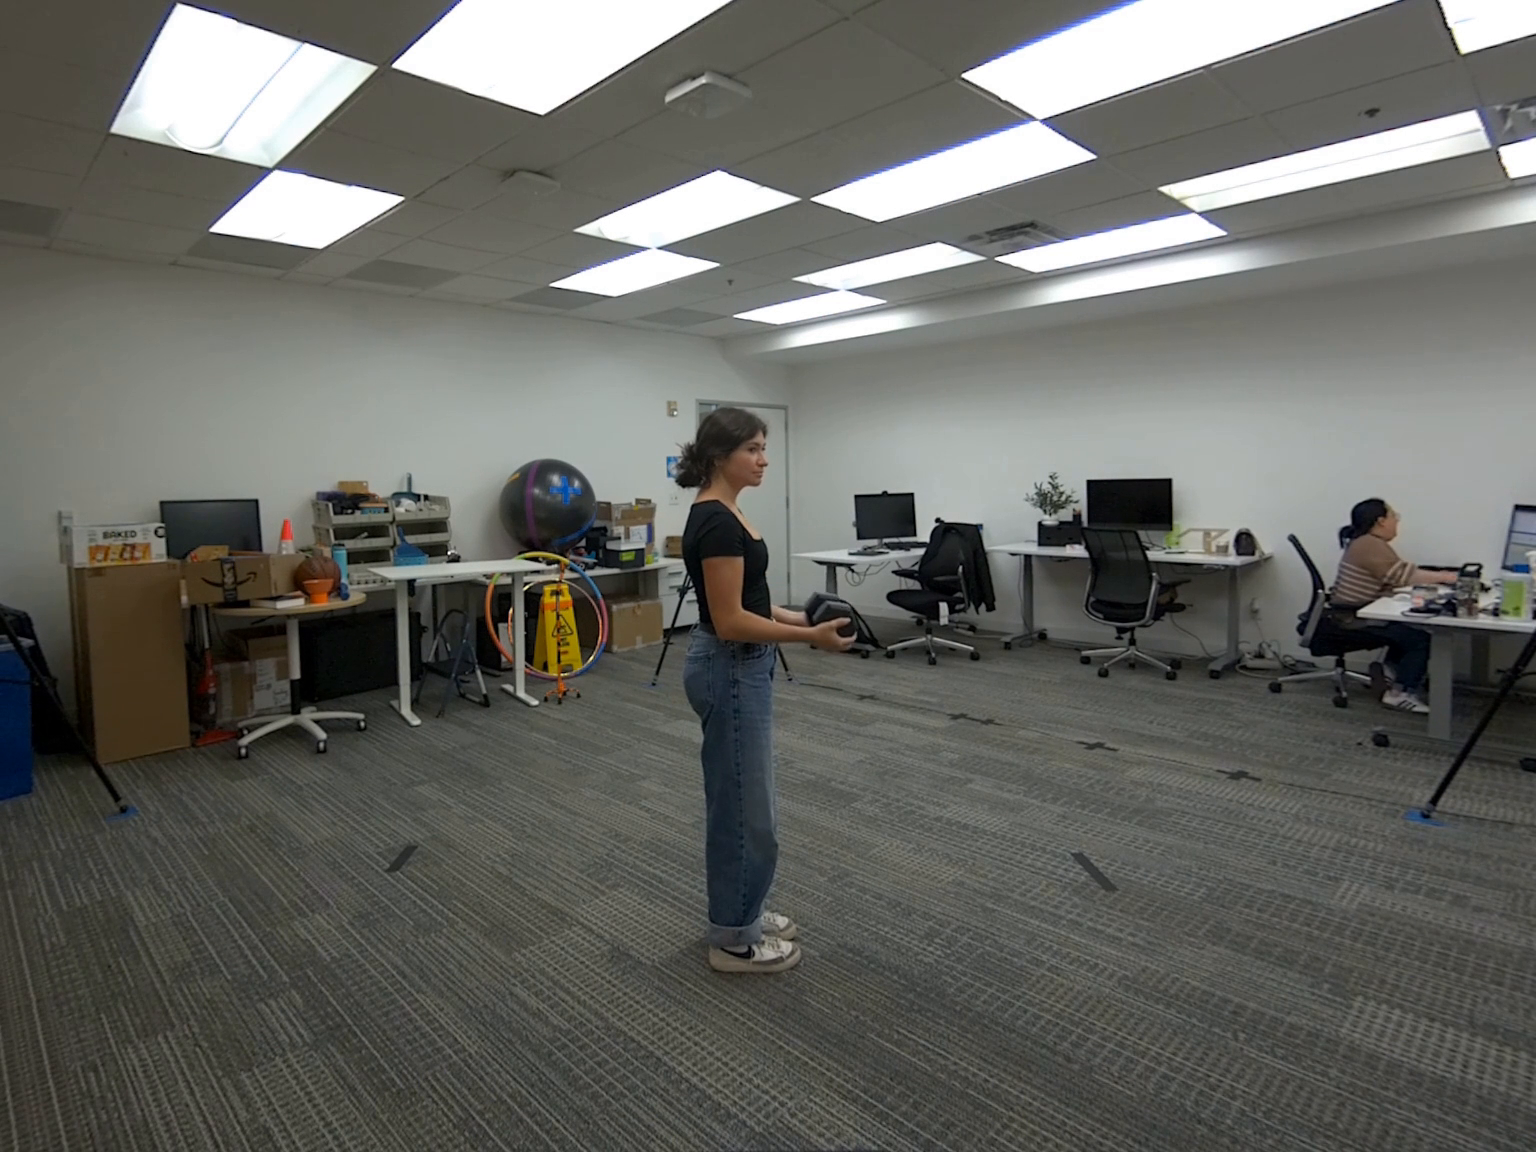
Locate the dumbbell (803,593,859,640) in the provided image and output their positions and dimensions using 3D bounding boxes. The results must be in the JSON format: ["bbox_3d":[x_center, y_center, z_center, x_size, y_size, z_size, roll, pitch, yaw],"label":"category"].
[{"bbox_3d":[0.172,0.113,2.459,0.108,0.123,0.295,42,2,-6],"label":"dumbbell"}]
